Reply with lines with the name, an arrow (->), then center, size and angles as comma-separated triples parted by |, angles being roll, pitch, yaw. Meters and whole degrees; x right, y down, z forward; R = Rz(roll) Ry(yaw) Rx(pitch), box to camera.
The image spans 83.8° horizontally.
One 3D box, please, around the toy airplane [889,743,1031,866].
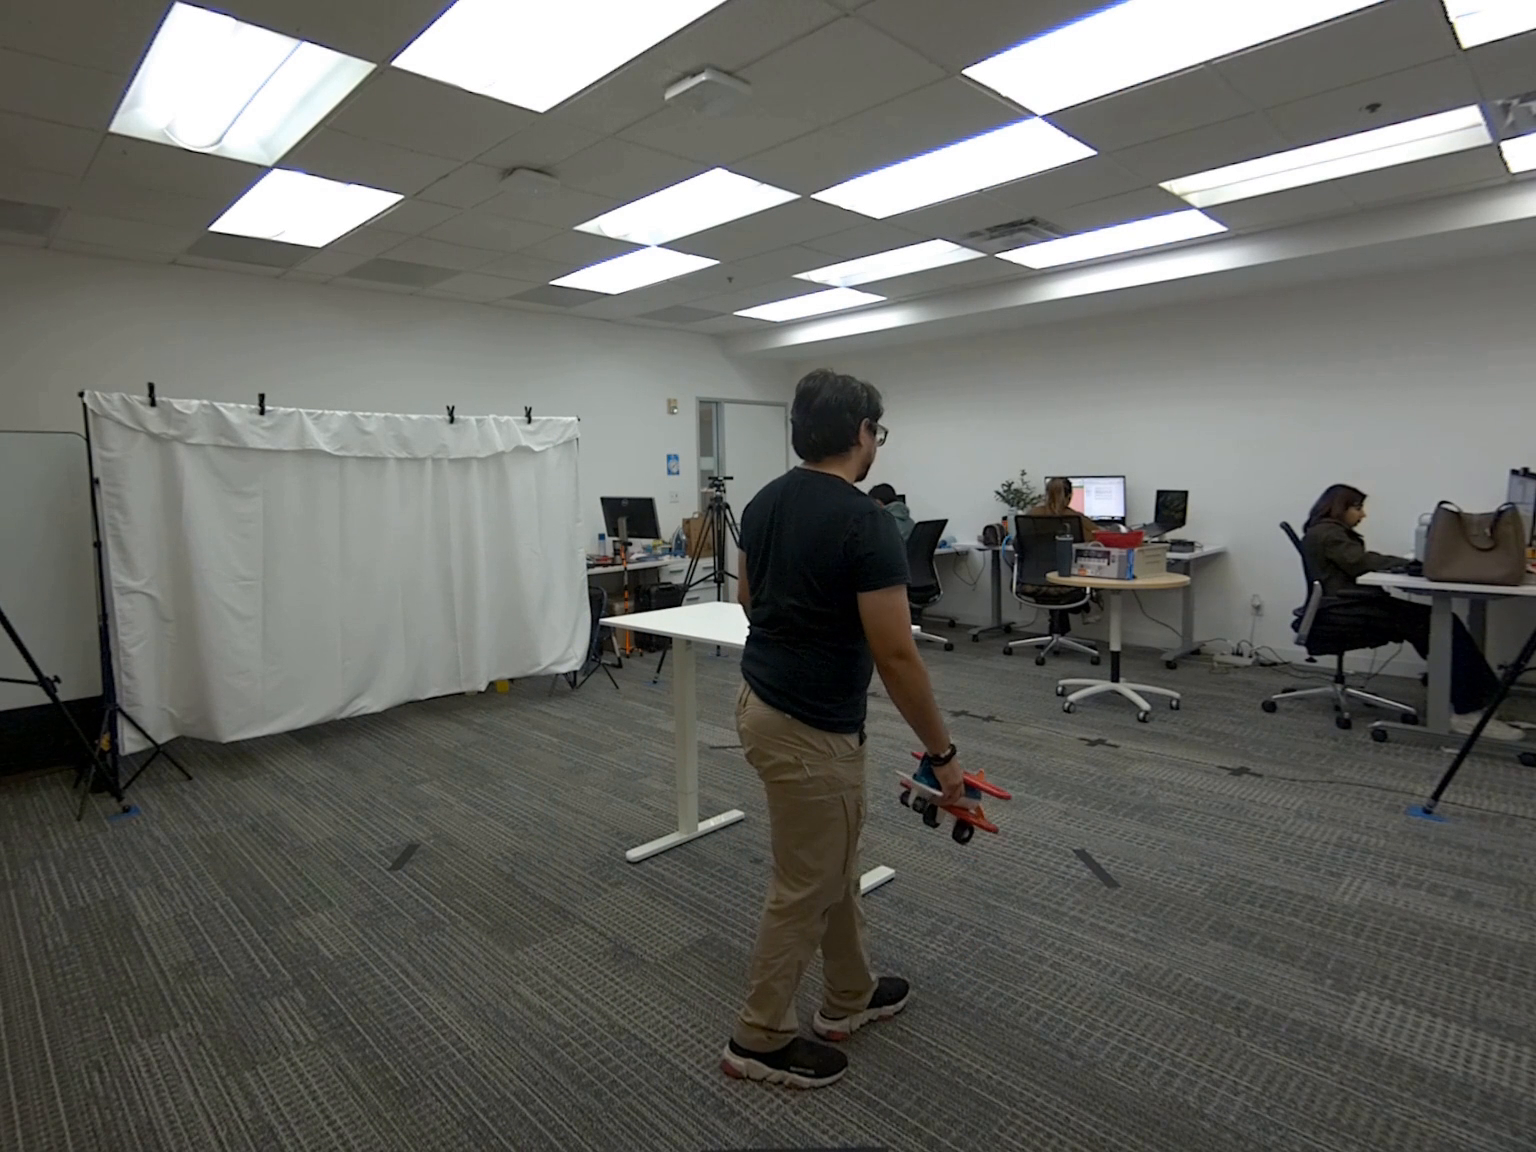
toy airplane -> 0.425, 0.513, 1.940 | 0.256, 0.157, 0.253 | 22, -11, 16
